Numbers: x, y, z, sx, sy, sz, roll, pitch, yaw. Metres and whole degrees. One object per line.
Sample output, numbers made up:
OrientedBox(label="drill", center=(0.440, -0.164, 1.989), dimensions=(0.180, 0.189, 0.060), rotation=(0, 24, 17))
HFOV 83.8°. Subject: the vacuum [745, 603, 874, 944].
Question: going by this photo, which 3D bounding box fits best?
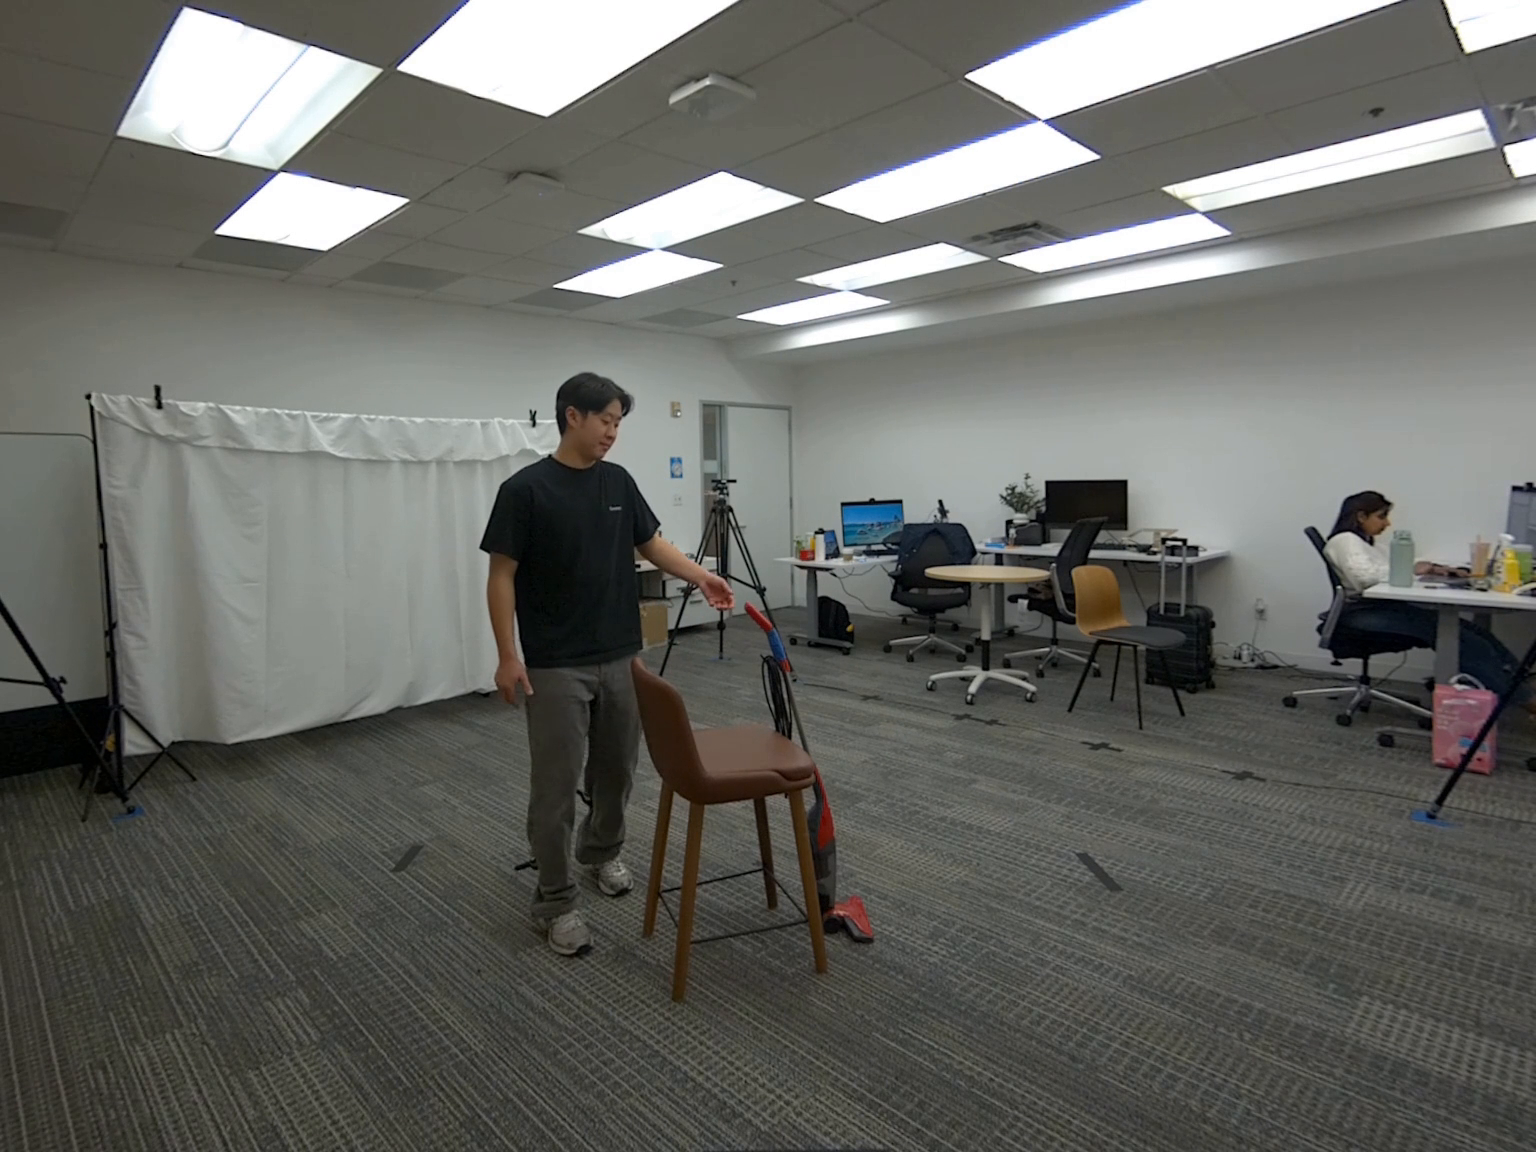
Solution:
OrientedBox(label="vacuum", center=(0.091, 0.585, 2.662), dimensions=(0.144, 1.046, 0.253), rotation=(-18, 3, 0))
